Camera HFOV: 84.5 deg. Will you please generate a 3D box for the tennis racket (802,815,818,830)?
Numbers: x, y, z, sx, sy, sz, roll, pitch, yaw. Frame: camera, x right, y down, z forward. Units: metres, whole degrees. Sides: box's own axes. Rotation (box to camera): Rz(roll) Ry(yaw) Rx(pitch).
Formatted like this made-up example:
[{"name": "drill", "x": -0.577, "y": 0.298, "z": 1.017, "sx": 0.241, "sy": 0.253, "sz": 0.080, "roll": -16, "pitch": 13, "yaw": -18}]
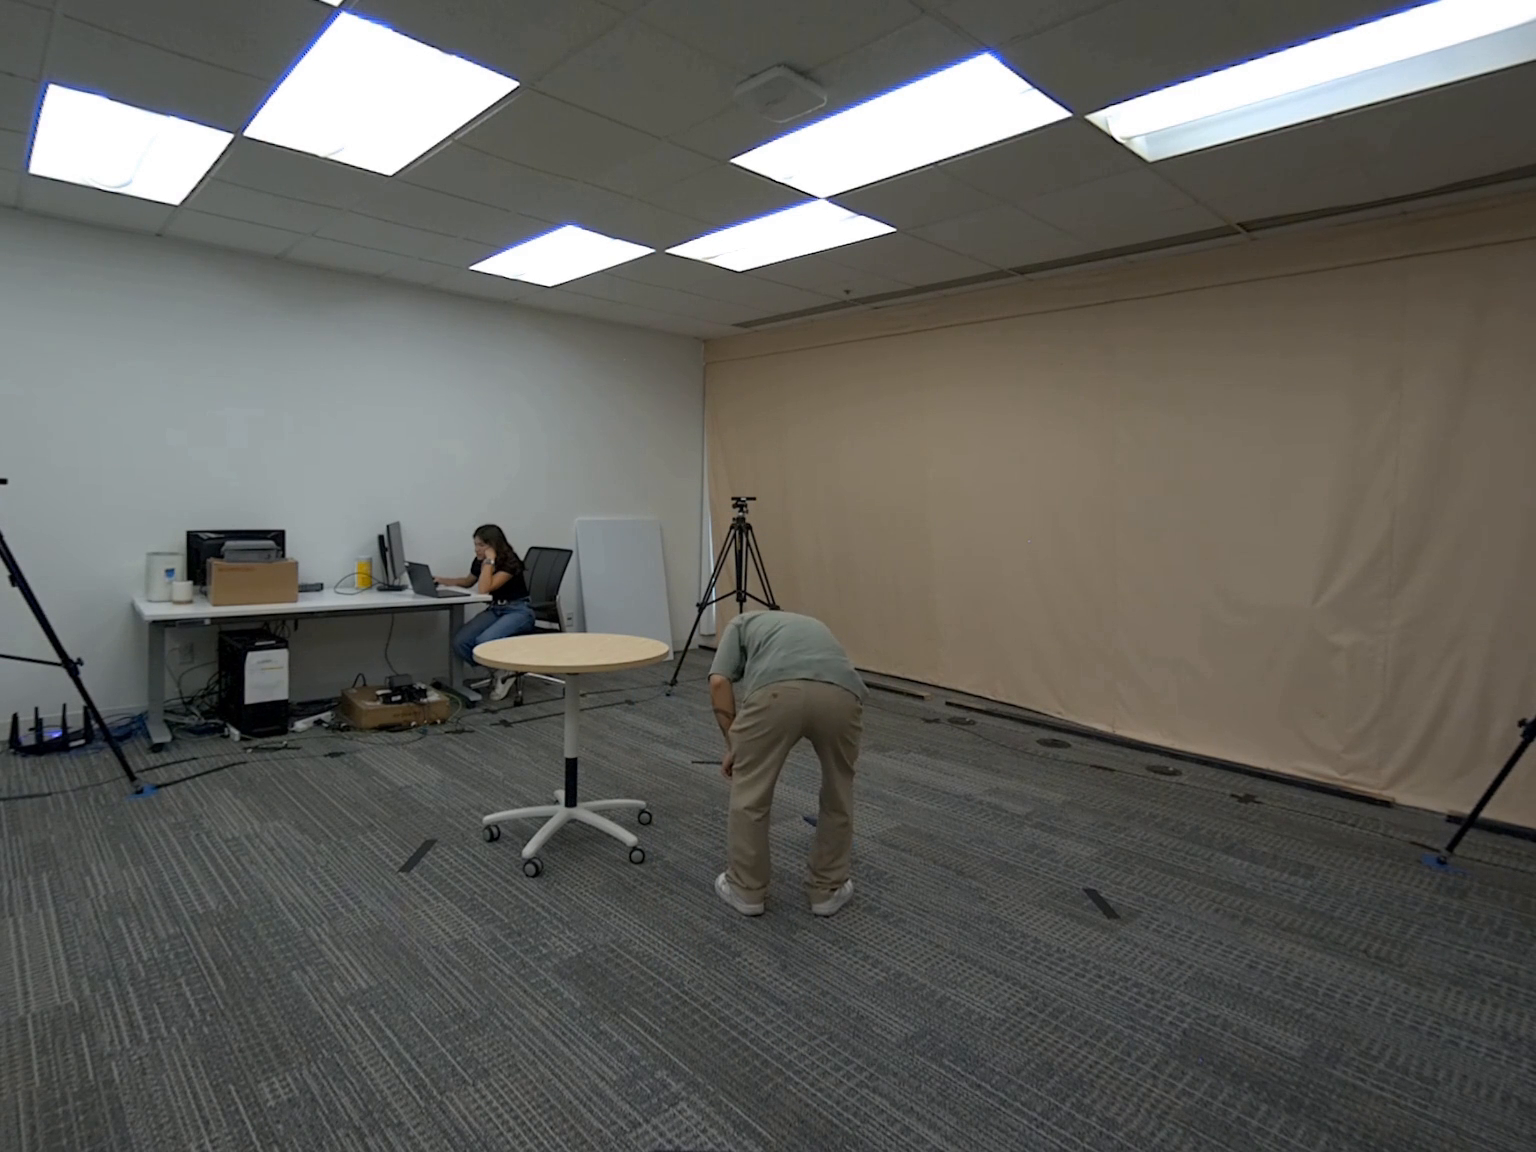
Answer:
[{"name": "tennis racket", "x": 0.242, "y": 0.992, "z": 3.325, "sx": 0.216, "sy": 0.032, "sz": 0.426, "roll": 24, "pitch": -17, "yaw": 10}]
